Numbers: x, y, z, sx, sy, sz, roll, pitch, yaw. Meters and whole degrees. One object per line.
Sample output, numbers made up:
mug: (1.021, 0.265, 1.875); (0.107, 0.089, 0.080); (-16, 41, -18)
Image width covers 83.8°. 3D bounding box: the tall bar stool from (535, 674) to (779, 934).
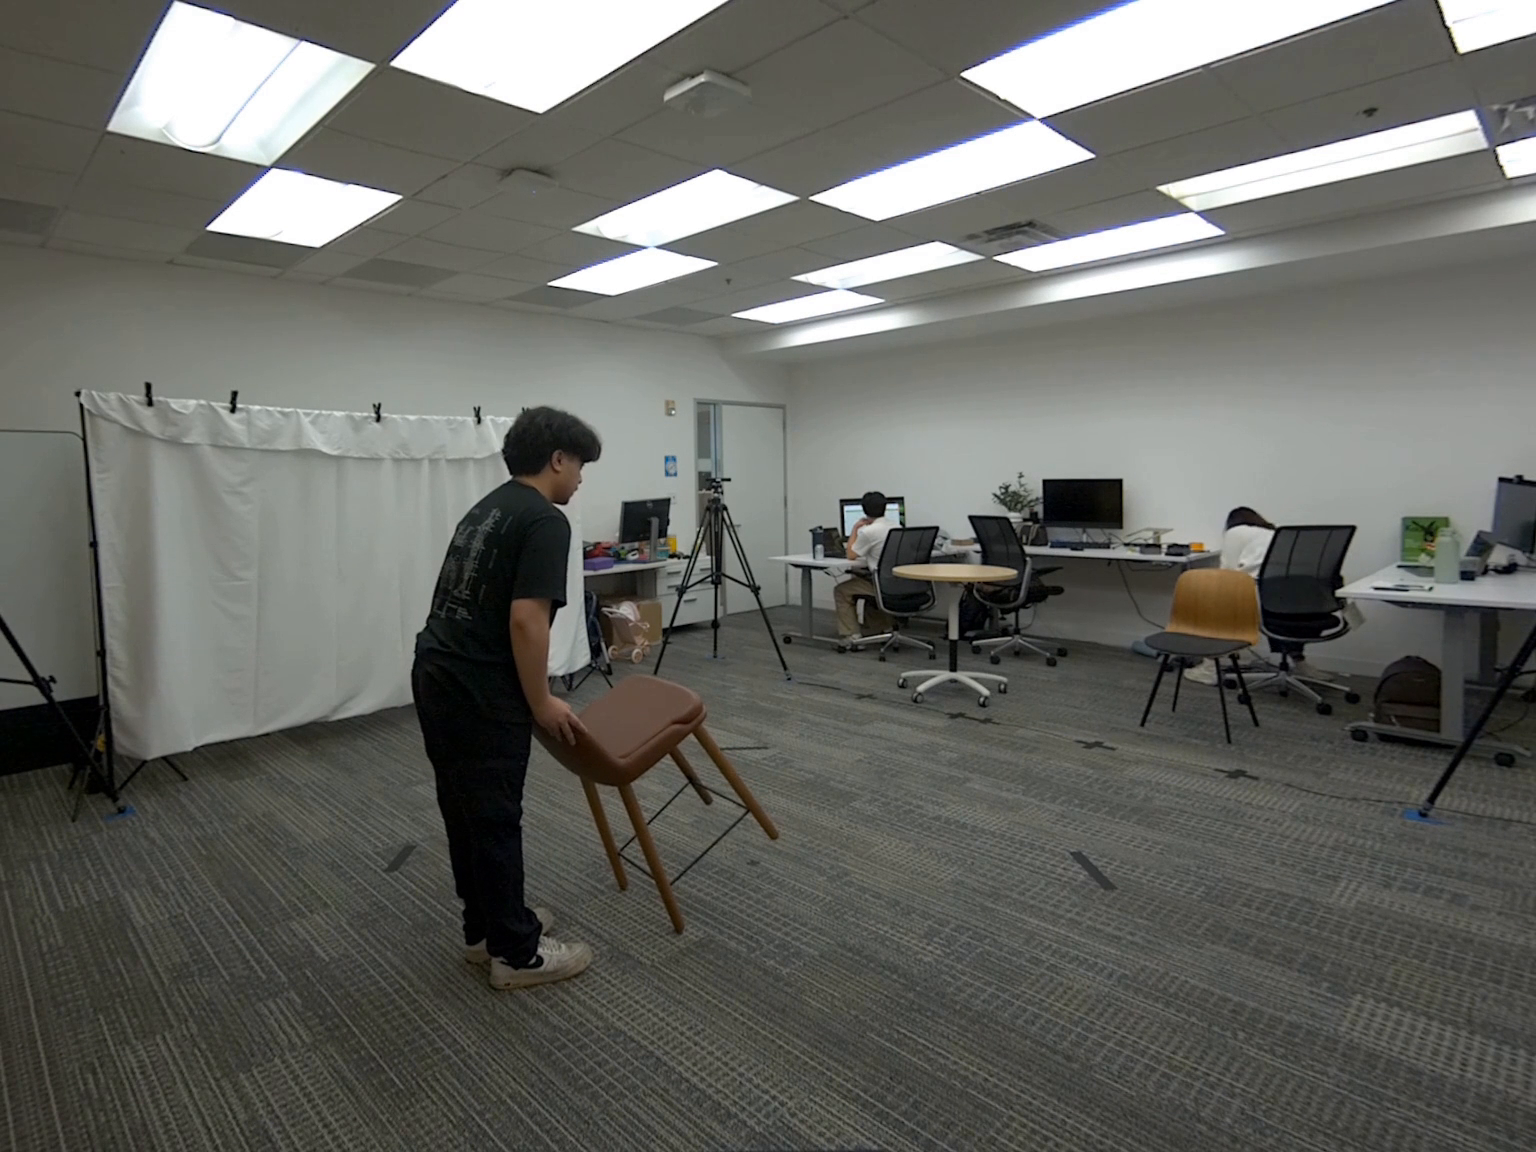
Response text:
tall bar stool: (-0.405, 0.606, 2.739); (0.465, 0.868, 0.470); (-38, 25, -29)
